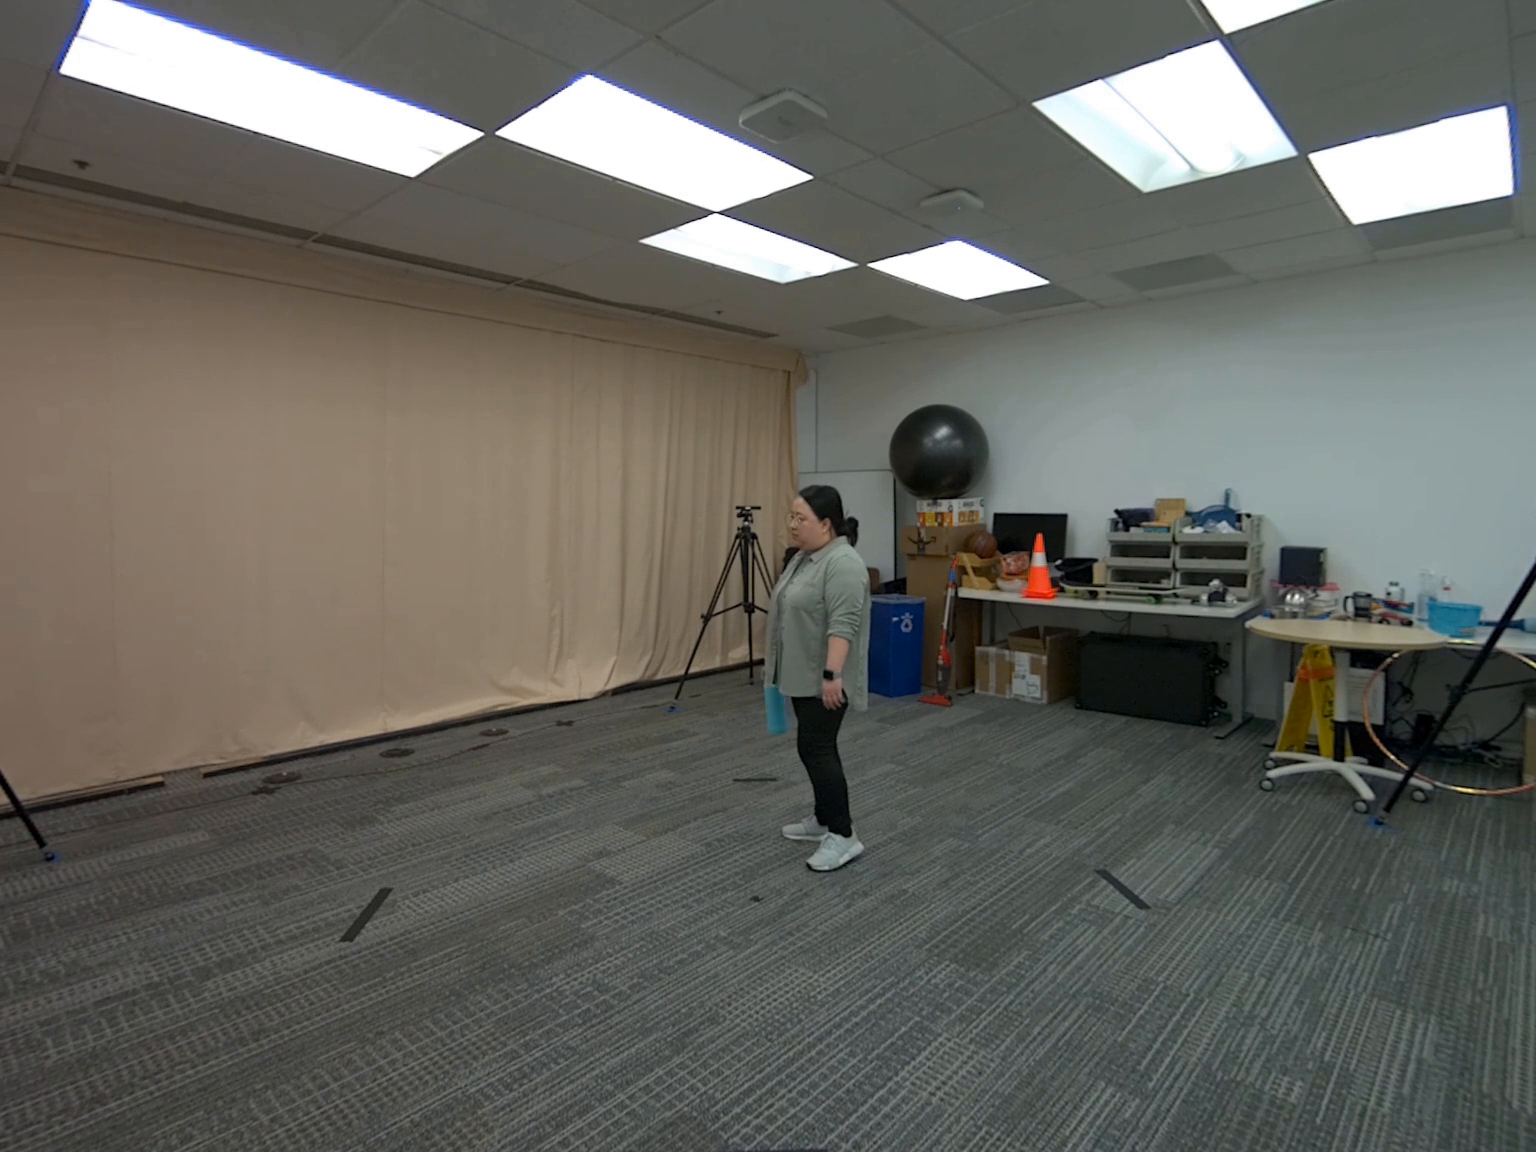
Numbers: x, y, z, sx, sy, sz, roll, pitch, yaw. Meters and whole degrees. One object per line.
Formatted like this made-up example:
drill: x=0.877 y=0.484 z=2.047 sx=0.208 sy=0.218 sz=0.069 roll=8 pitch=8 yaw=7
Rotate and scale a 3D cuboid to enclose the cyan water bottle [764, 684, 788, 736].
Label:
cyan water bottle: x=0.032 y=0.553 z=3.745 sx=0.092 sy=0.282 sz=0.093 roll=-4 pitch=5 yaw=-1
